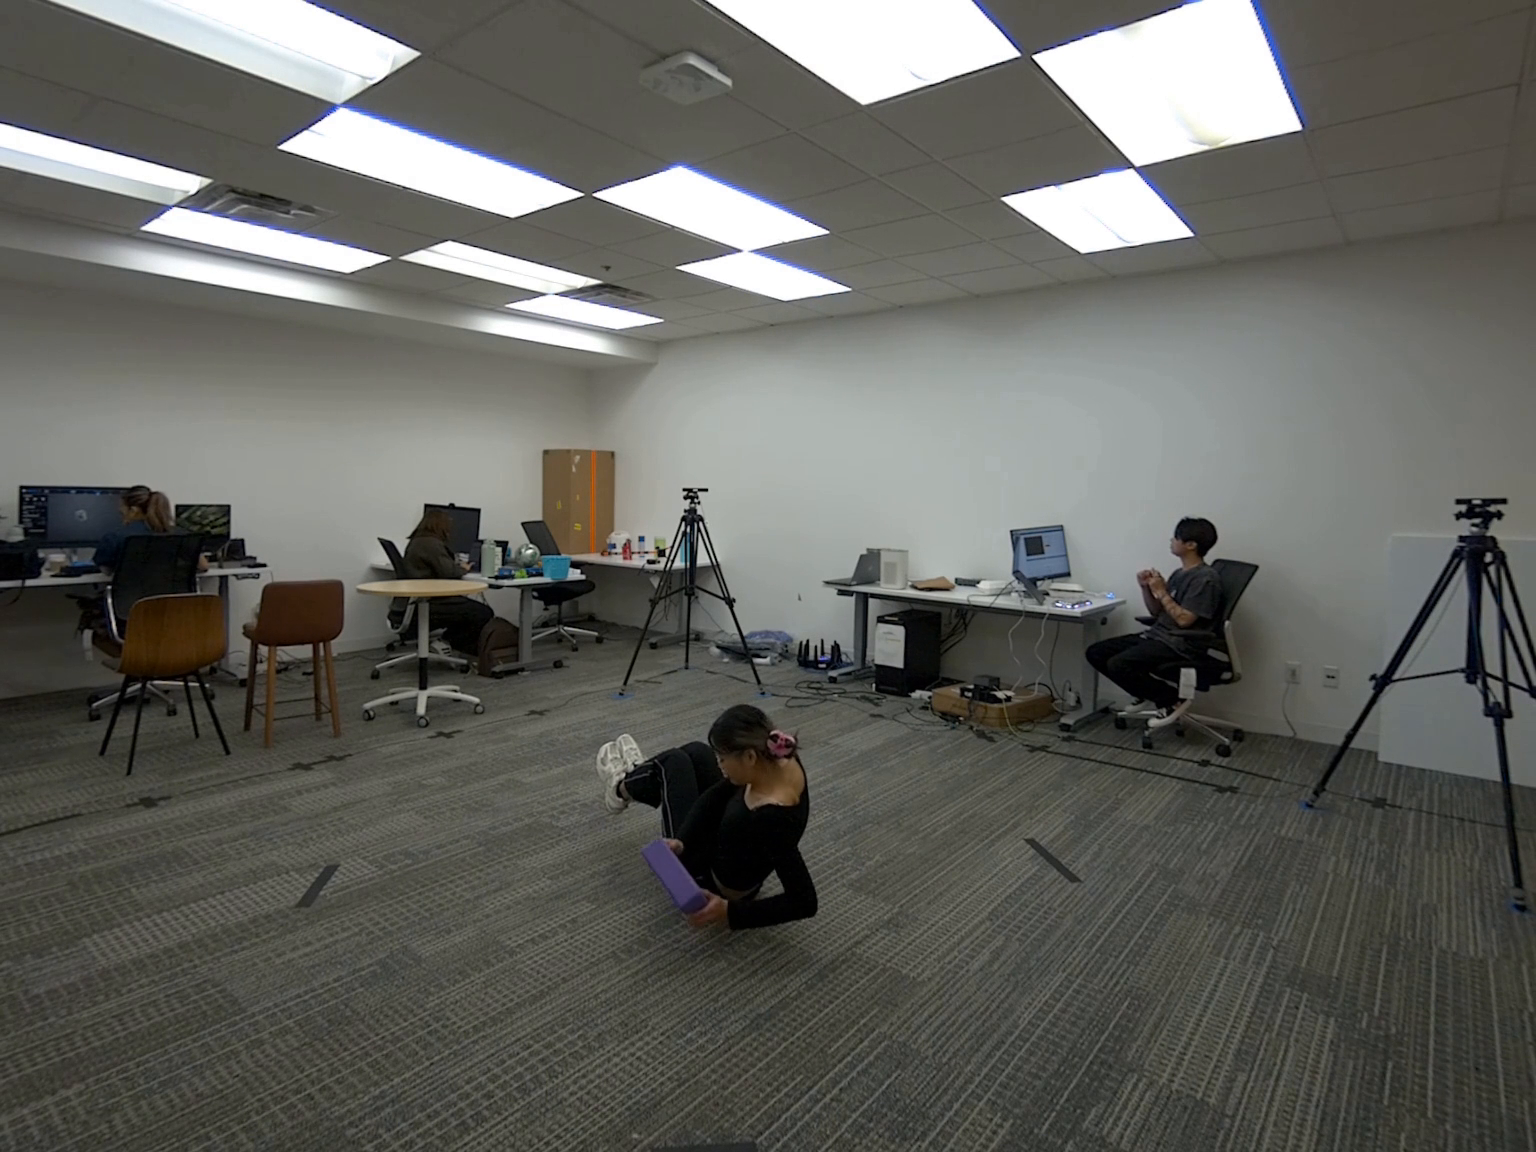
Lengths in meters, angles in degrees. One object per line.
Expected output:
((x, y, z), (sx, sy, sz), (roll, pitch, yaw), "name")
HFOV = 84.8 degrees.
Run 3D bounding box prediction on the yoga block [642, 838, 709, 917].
((-0.274, 0.897, 2.540), (0.076, 0.143, 0.239), (-32, 45, -12), "yoga block")
